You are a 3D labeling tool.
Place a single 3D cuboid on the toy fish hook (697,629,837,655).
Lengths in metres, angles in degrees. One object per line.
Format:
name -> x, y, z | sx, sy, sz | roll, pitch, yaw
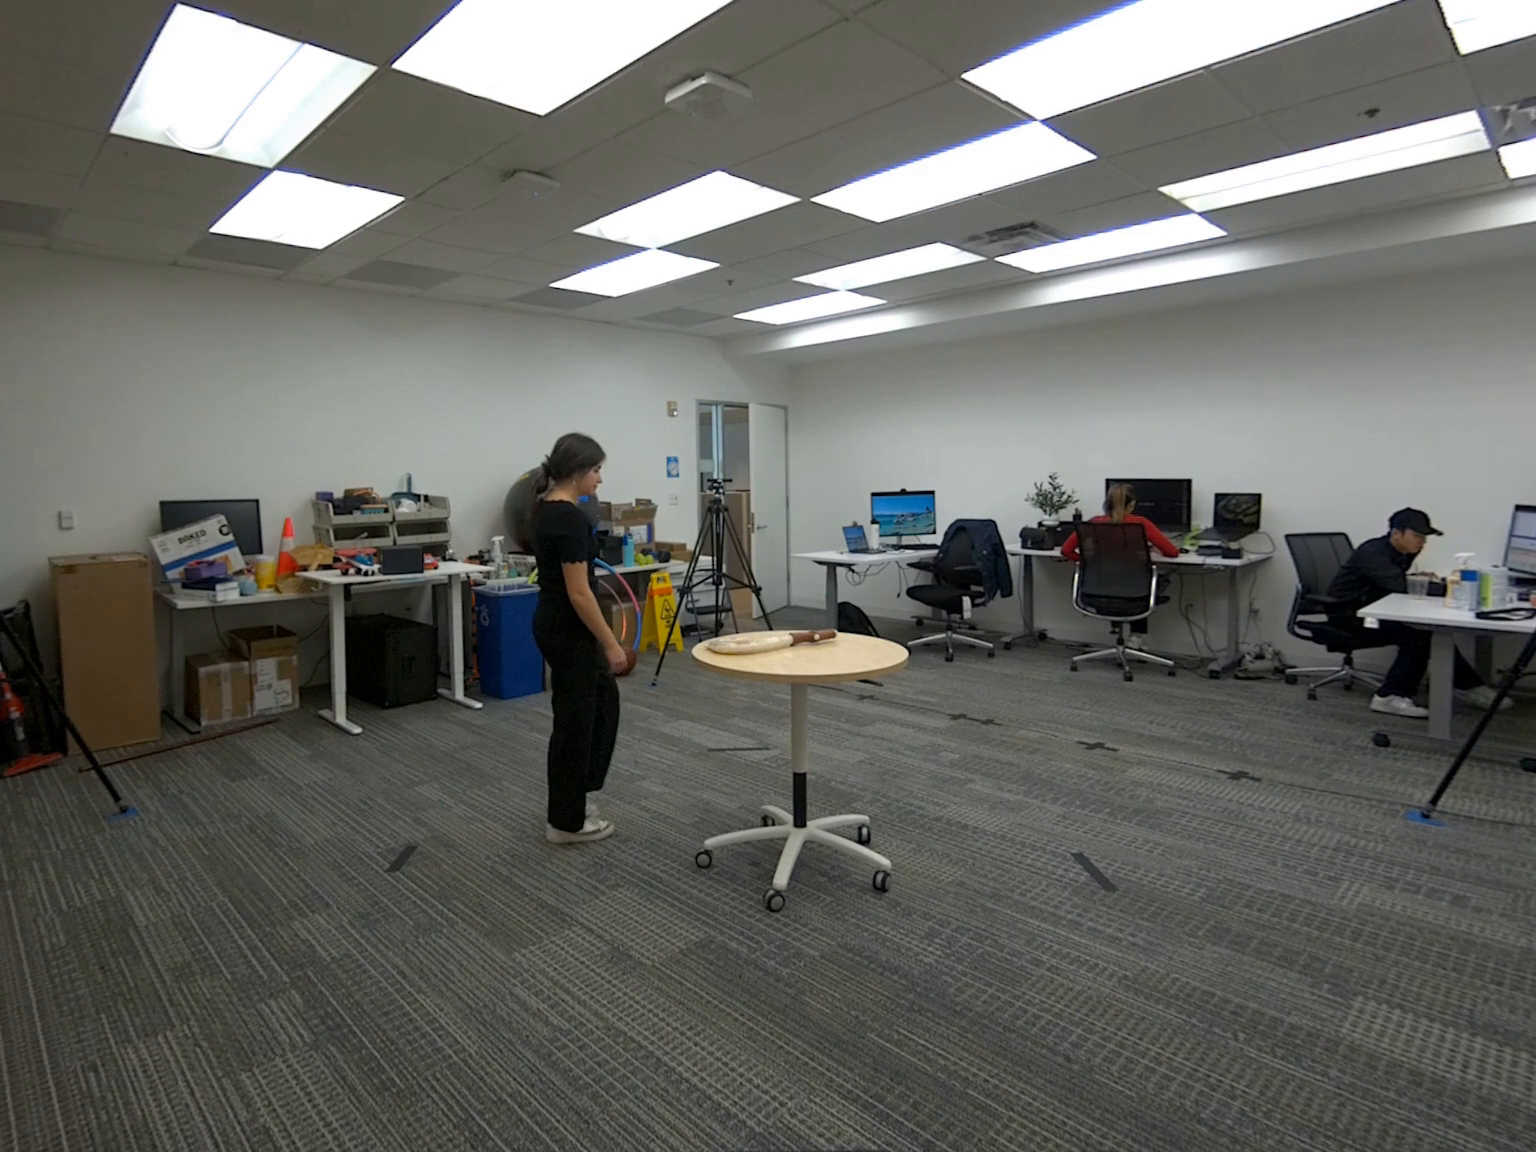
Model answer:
toy fish hook -> 0.011, 0.229, 3.139 | 0.496, 0.048, 0.232 | -5, 15, -25
